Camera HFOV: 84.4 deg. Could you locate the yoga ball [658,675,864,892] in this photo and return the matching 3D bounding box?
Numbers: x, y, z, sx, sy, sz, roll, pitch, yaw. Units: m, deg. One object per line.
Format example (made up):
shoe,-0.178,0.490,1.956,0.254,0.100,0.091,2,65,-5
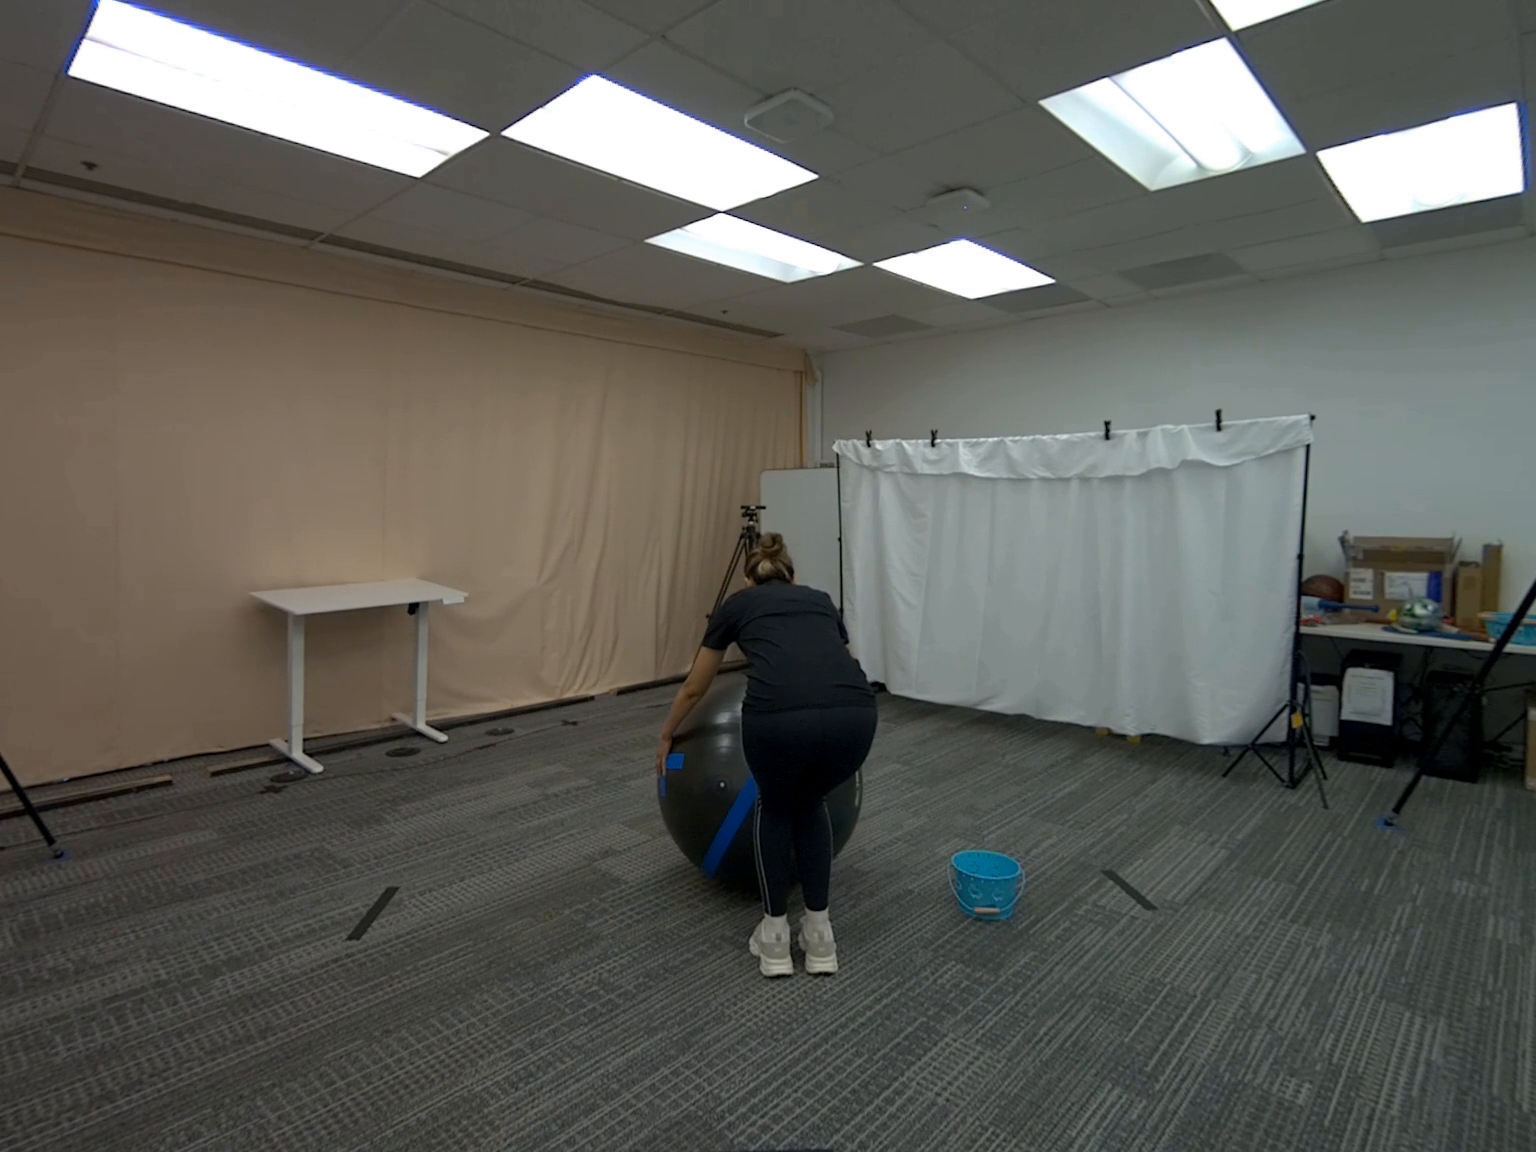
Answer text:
yoga ball,-0.026,0.745,3.110,0.757,0.756,0.761,0,4,-2
